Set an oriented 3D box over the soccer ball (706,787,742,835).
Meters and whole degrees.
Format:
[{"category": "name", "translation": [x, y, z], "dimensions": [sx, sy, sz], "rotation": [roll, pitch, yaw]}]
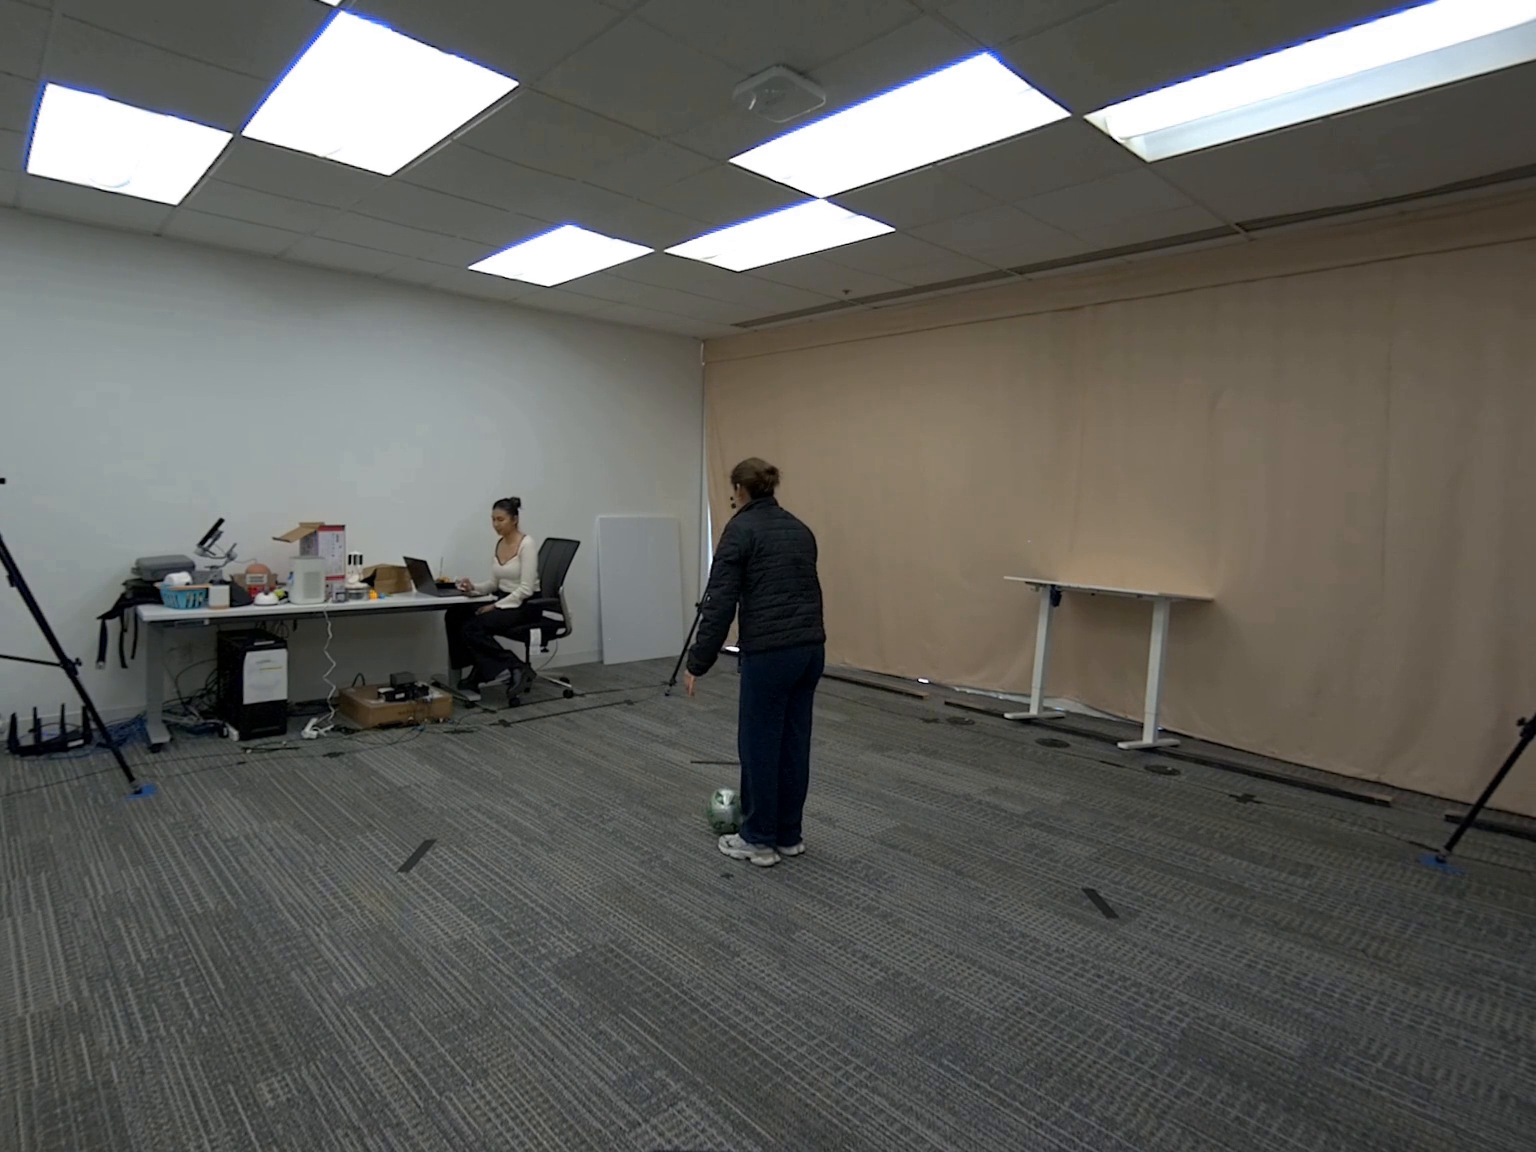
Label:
[{"category": "soccer ball", "translation": [-0.177, 0.981, 3.514], "dimensions": [0.187, 0.187, 0.188], "rotation": [1, 4, -1]}]
